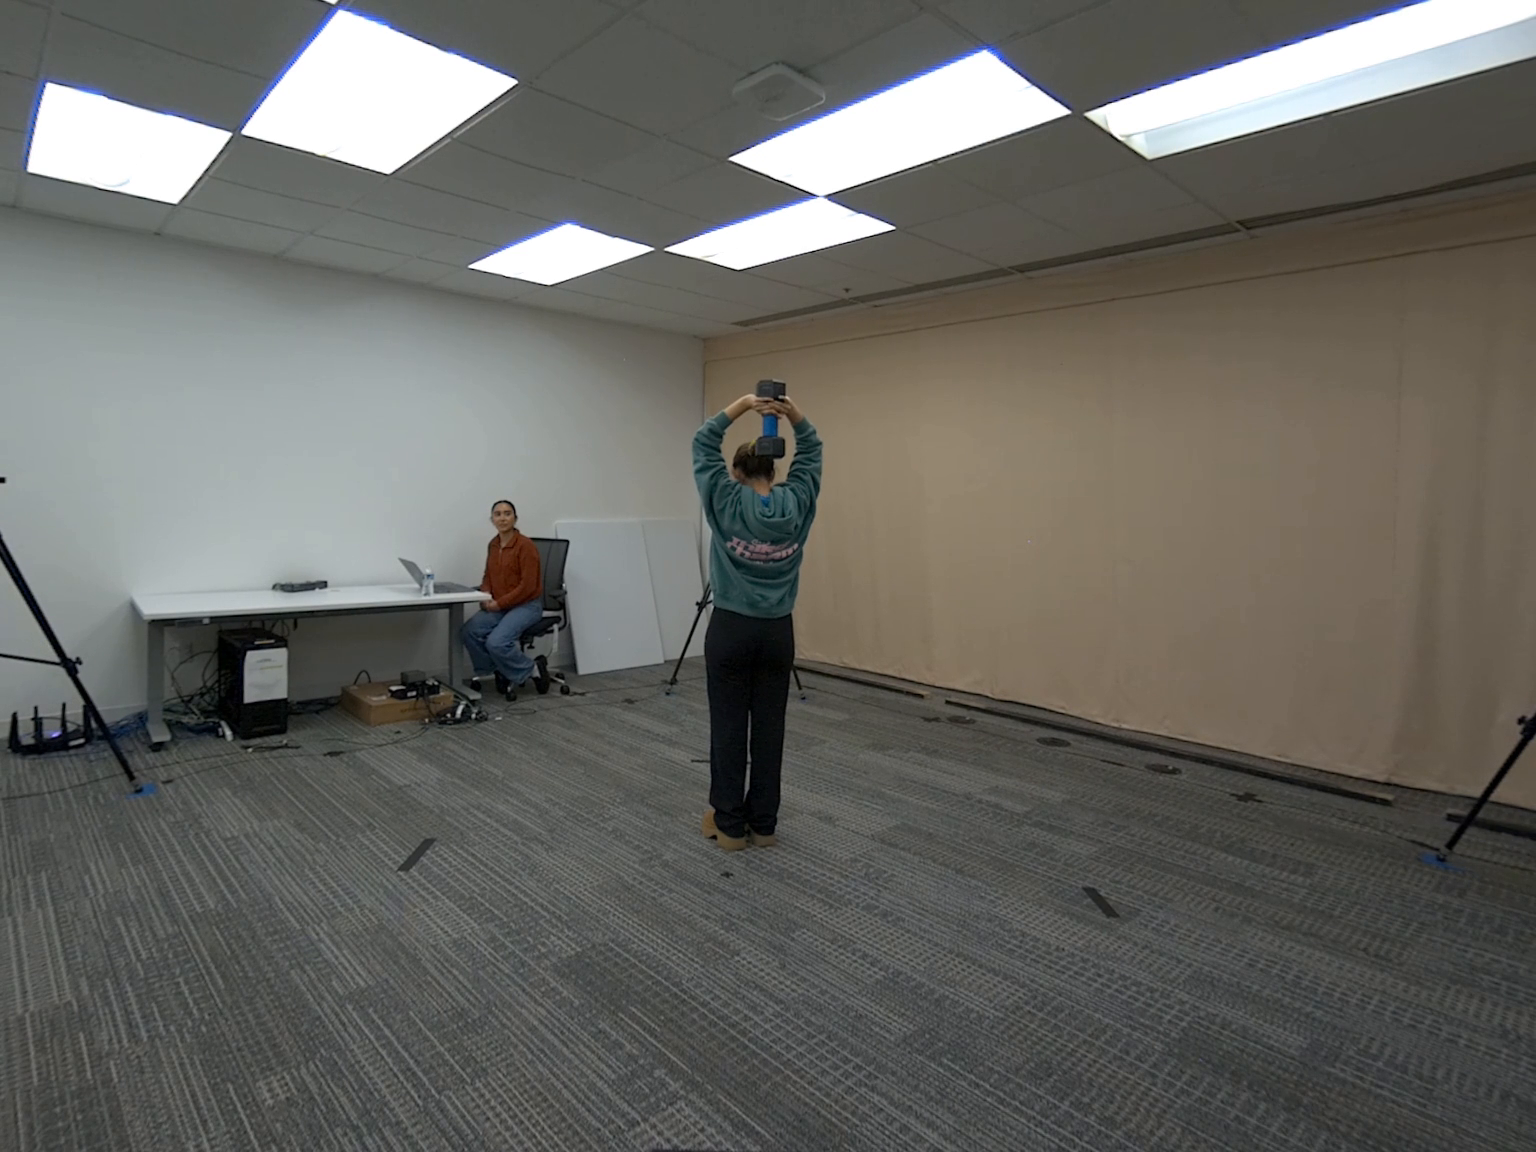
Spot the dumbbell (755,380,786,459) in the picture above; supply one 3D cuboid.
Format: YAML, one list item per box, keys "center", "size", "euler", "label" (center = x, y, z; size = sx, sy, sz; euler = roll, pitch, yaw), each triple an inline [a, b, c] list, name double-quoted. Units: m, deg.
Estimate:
- center: [-0.006, -0.592, 3.192]
  size: [0.107, 0.293, 0.124]
  euler: [1, 0, -14]
  label: "dumbbell"
